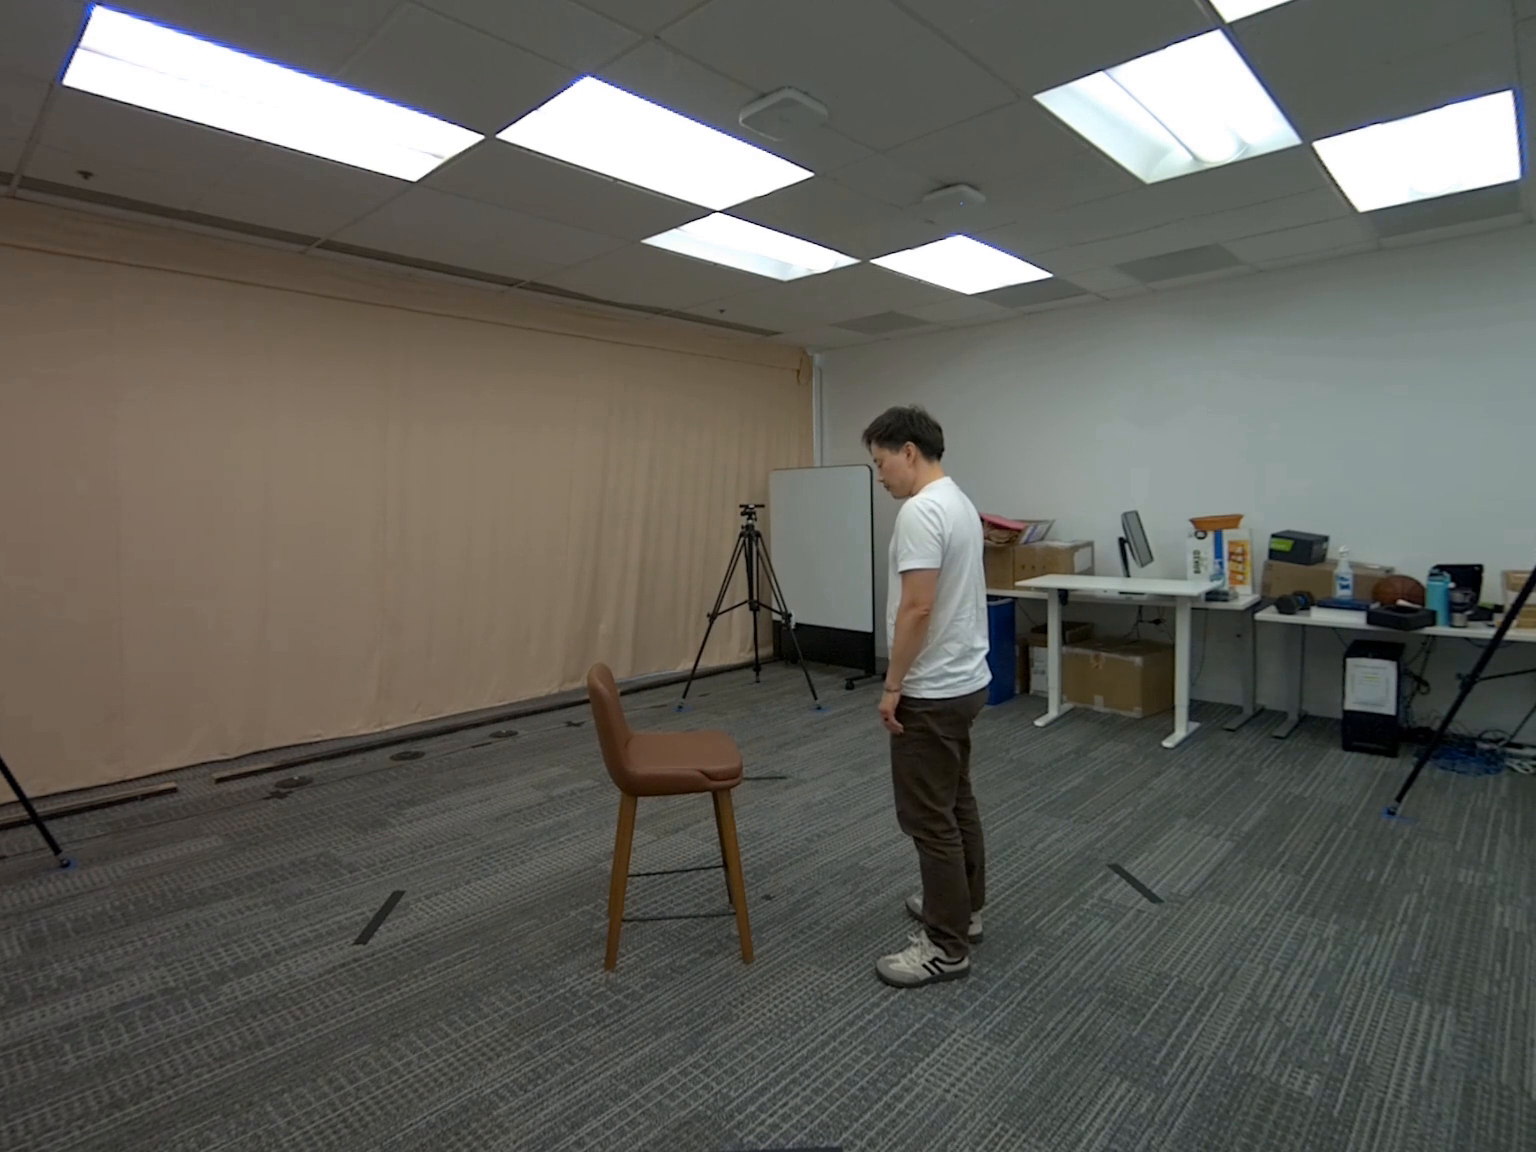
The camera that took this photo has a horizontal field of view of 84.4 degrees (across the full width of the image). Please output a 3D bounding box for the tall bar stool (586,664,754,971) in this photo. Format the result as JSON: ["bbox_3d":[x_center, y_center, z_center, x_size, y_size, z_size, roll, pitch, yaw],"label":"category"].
[{"bbox_3d":[-0.309,0.736,2.716,0.464,0.888,0.461,-3,3,-8],"label":"tall bar stool"}]
